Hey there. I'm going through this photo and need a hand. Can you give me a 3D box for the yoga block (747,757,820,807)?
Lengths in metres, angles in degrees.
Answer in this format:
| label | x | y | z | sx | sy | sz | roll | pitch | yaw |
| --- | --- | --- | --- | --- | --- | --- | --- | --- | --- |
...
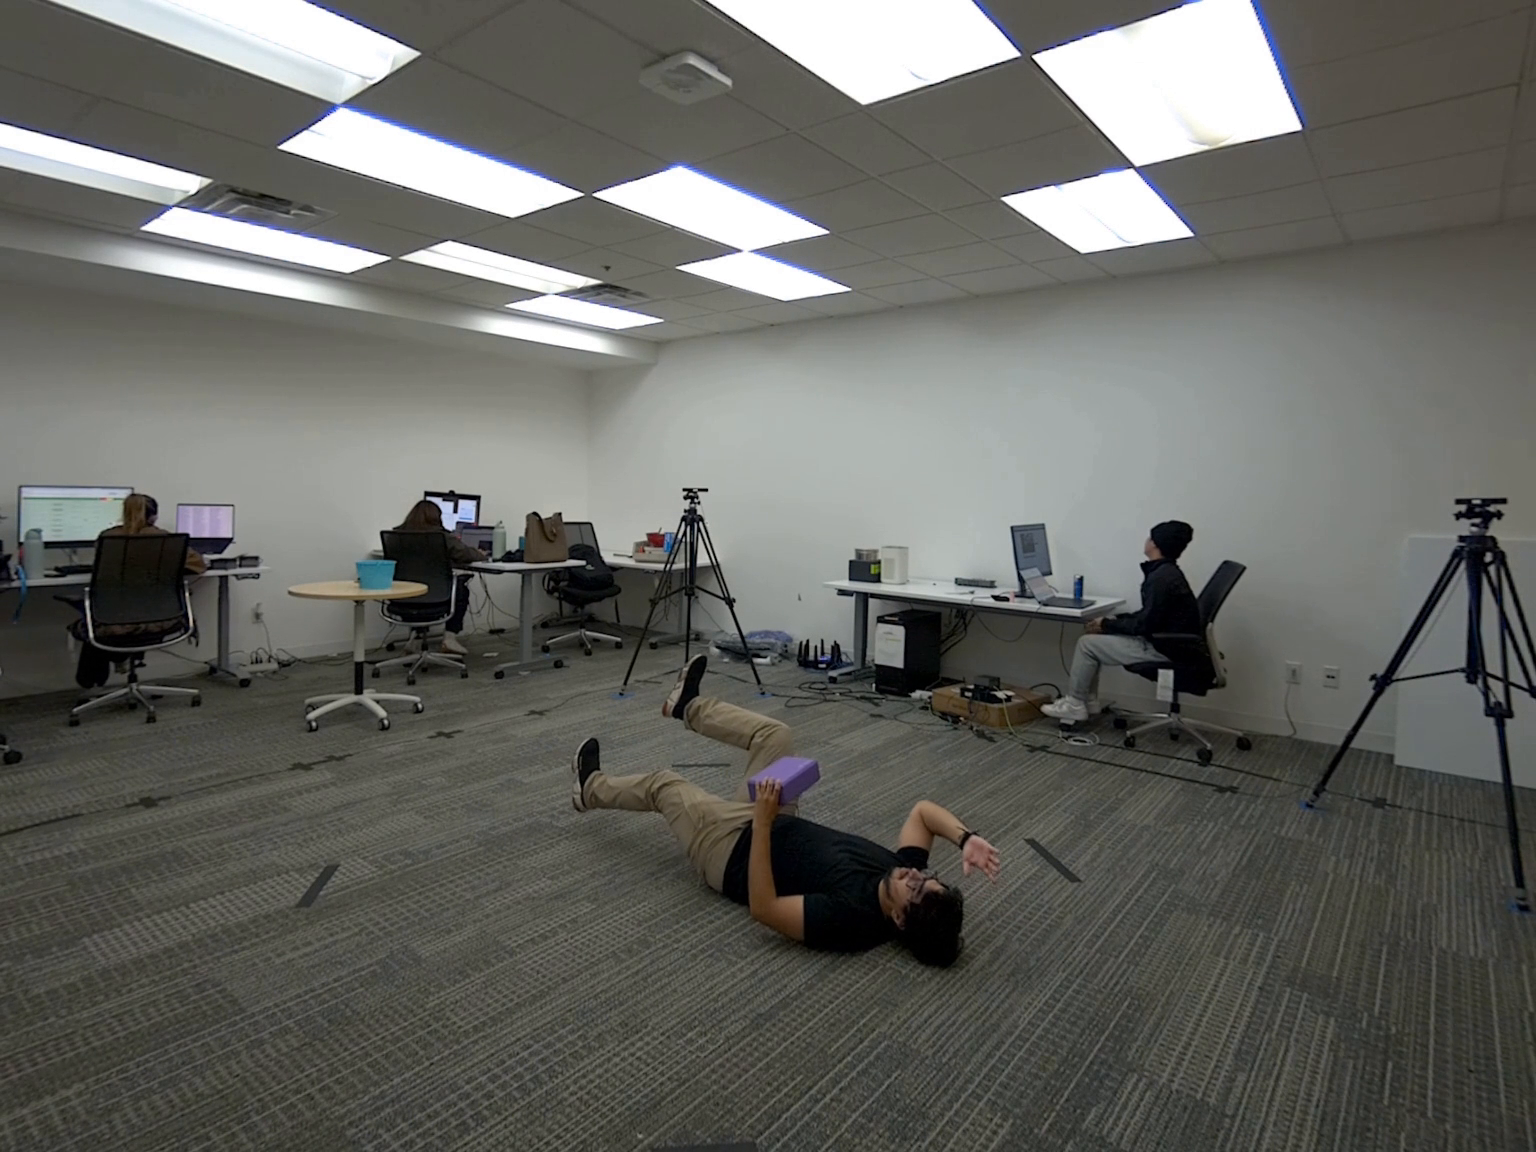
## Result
| label | x | y | z | sx | sy | sz | roll | pitch | yaw |
| --- | --- | --- | --- | --- | --- | --- | --- | --- | --- |
| yoga block | 0.054 | 0.689 | 2.876 | 0.153 | 0.076 | 0.225 | -4 | 10 | 37 |
